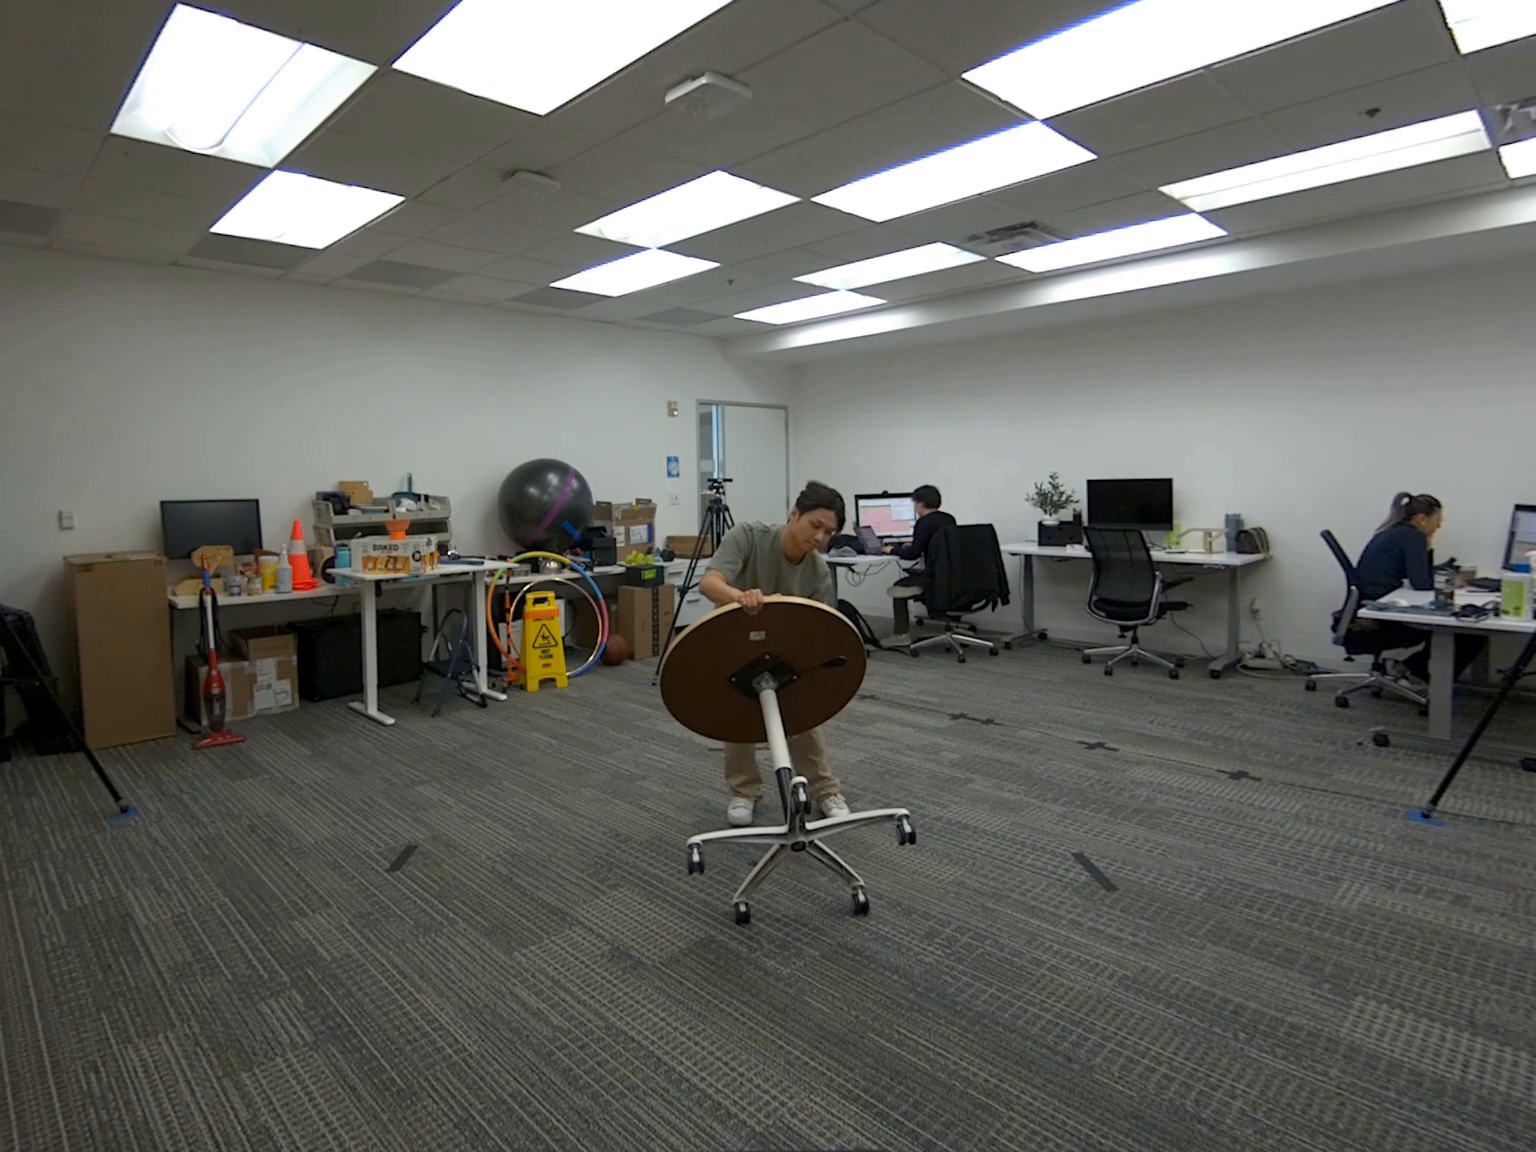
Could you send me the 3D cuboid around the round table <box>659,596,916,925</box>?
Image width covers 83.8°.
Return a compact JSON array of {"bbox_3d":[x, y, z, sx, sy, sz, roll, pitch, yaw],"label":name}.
[{"bbox_3d":[0.053,0.609,2.832,0.779,0.766,0.812,-2,40,-9],"label":"round table"}]
